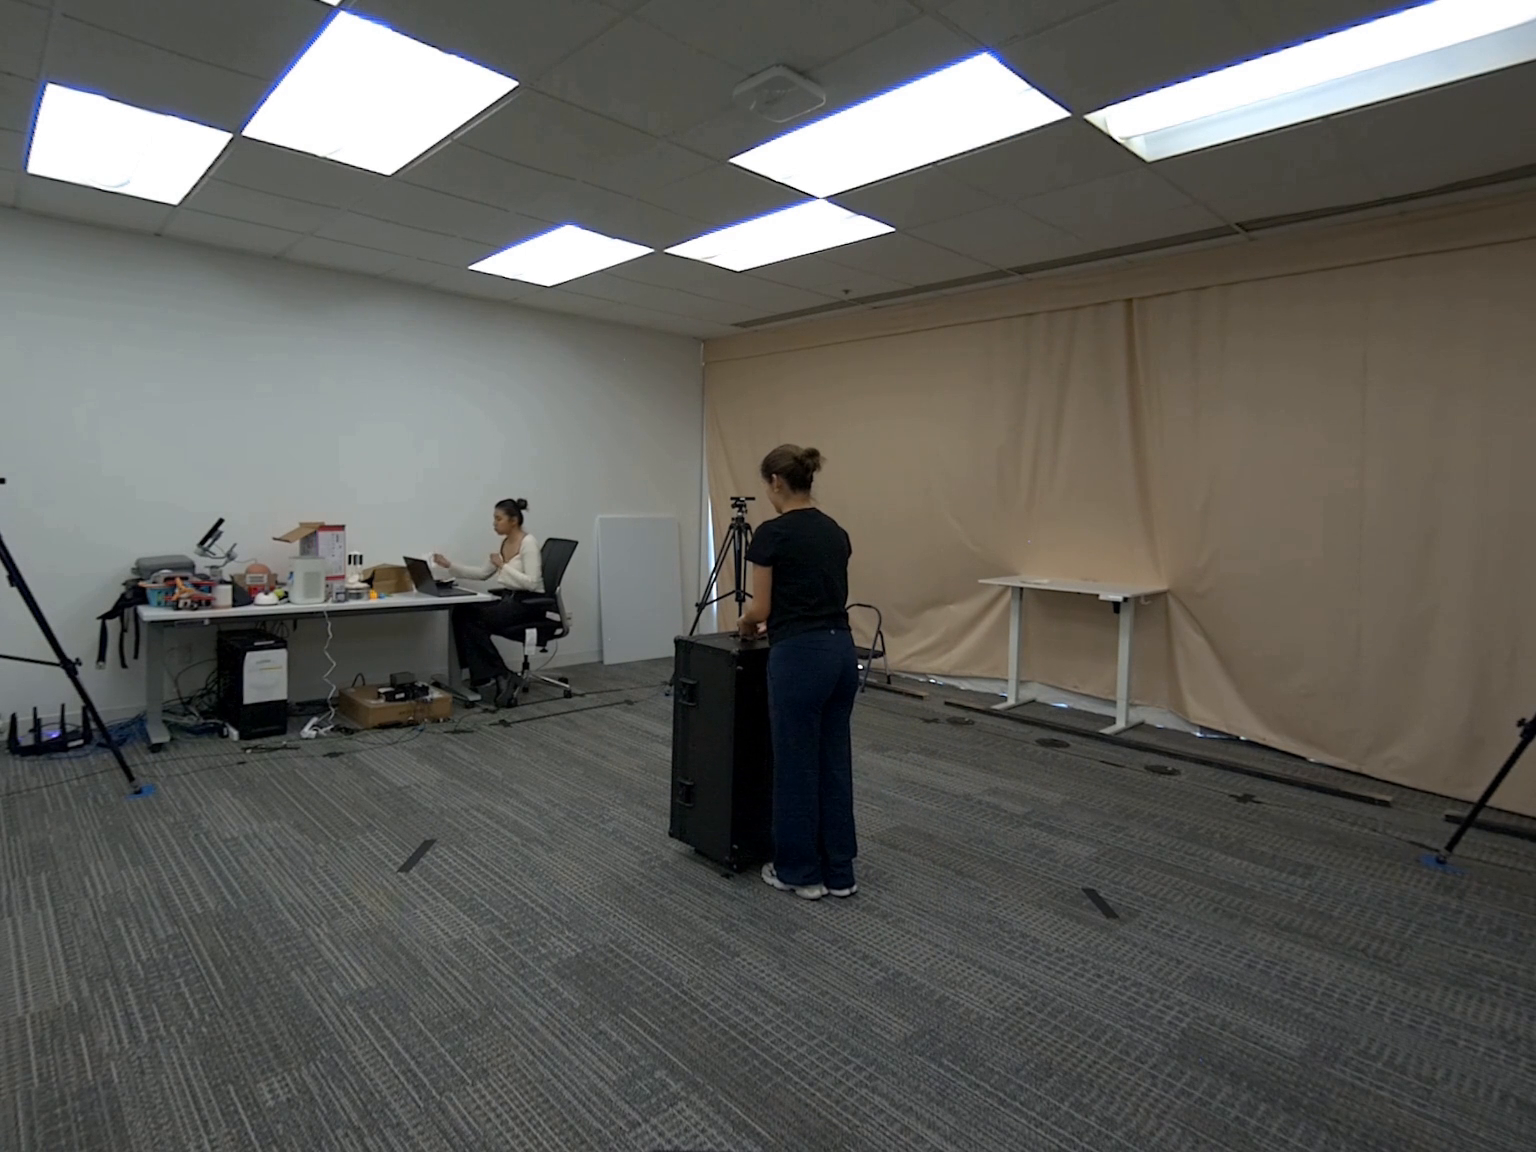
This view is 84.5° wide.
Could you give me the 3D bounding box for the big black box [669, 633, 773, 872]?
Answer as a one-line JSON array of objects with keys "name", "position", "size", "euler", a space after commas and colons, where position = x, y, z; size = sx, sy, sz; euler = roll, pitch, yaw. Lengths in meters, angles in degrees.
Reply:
[{"name": "big black box", "position": [-0.073, 0.667, 3.275], "size": [0.509, 0.859, 0.406], "euler": [-2, 6, -44]}]
